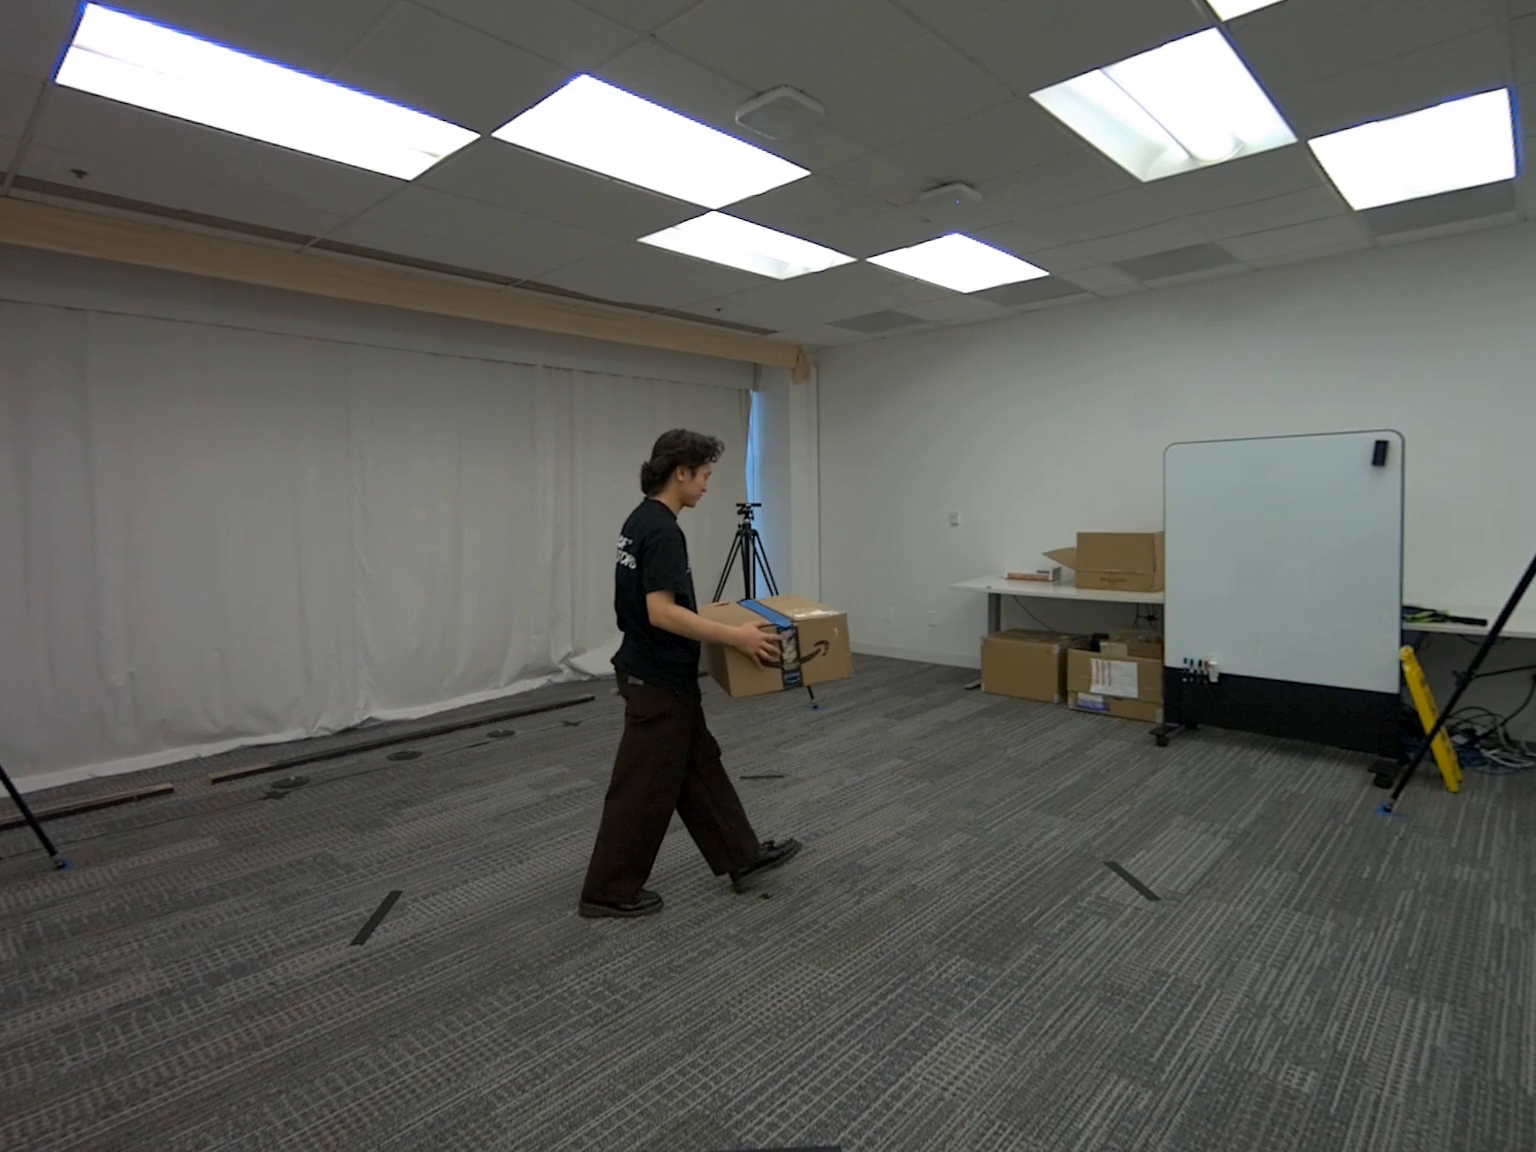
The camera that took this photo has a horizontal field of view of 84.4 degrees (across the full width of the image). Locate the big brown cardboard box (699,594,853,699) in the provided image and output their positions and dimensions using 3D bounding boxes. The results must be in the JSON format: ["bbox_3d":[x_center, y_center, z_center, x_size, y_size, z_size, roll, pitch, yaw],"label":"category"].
[{"bbox_3d":[0.005,0.227,2.971,0.412,0.232,0.599,-9,7,-14],"label":"big brown cardboard box"}]
